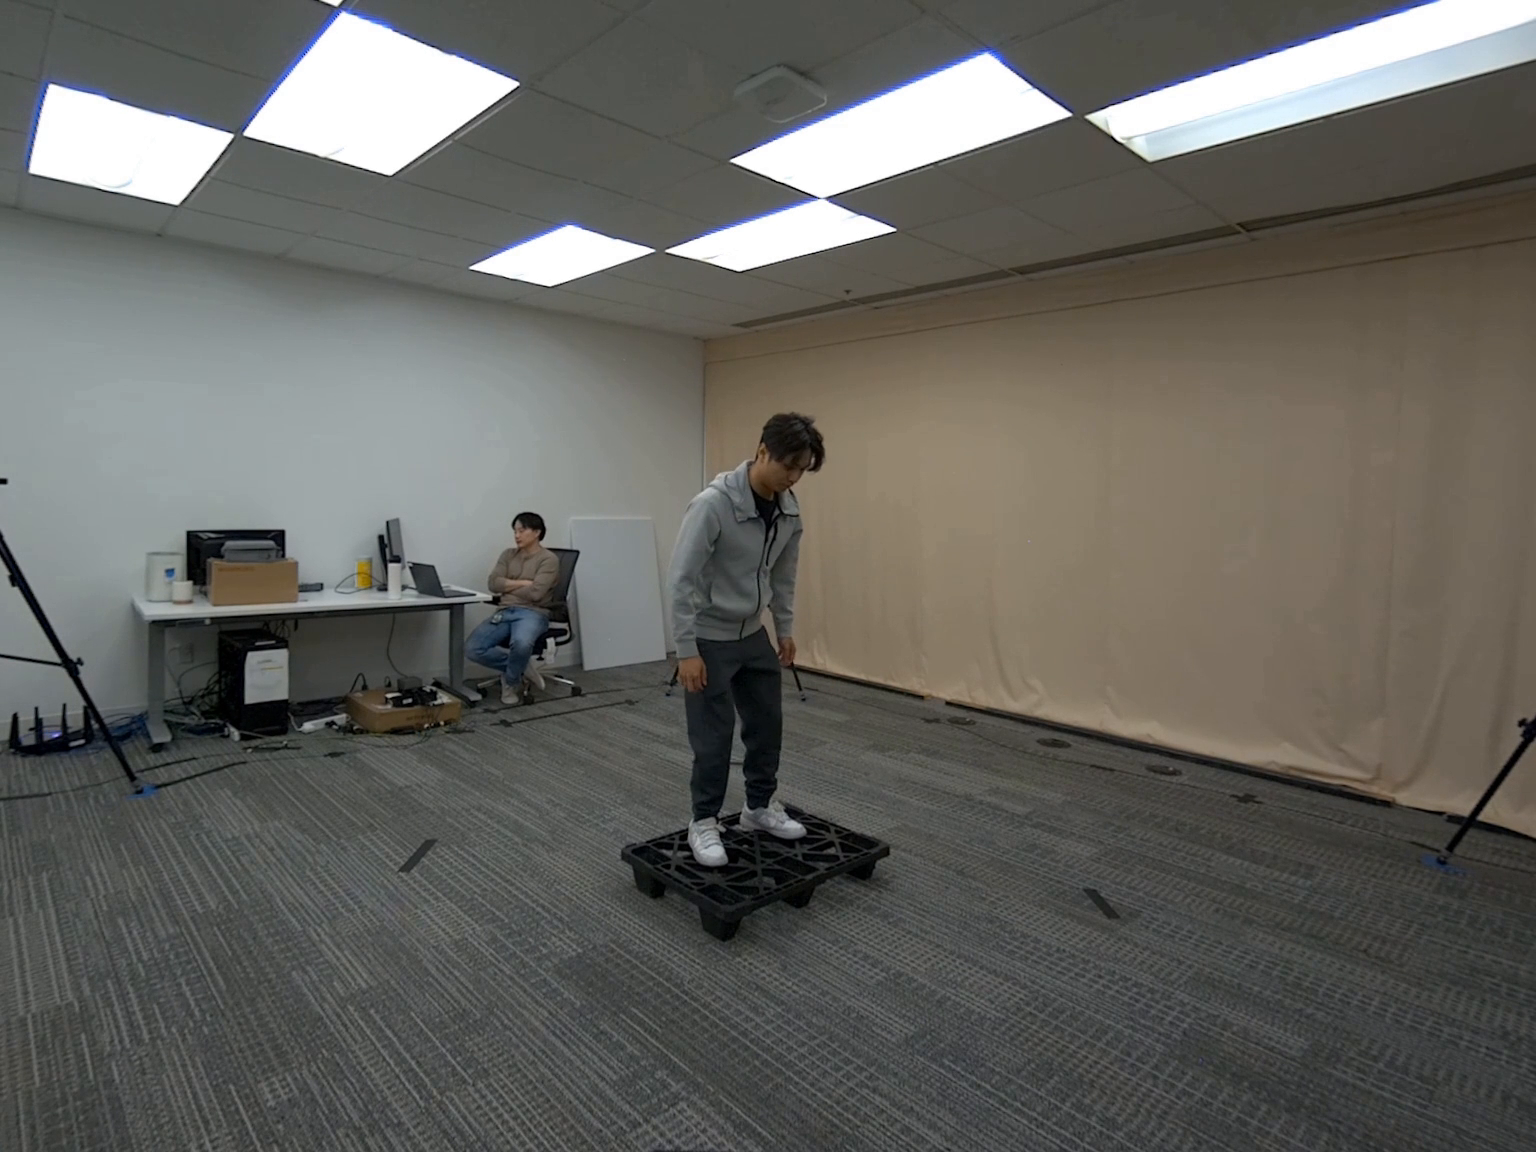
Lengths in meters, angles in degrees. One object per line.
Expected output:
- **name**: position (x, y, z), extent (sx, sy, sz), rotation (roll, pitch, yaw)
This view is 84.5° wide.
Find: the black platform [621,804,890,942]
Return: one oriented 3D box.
- **black platform**: position (-0.052, 1.045, 3.051), extent (0.787, 0.143, 0.620), rotation (-3, 6, -42)
